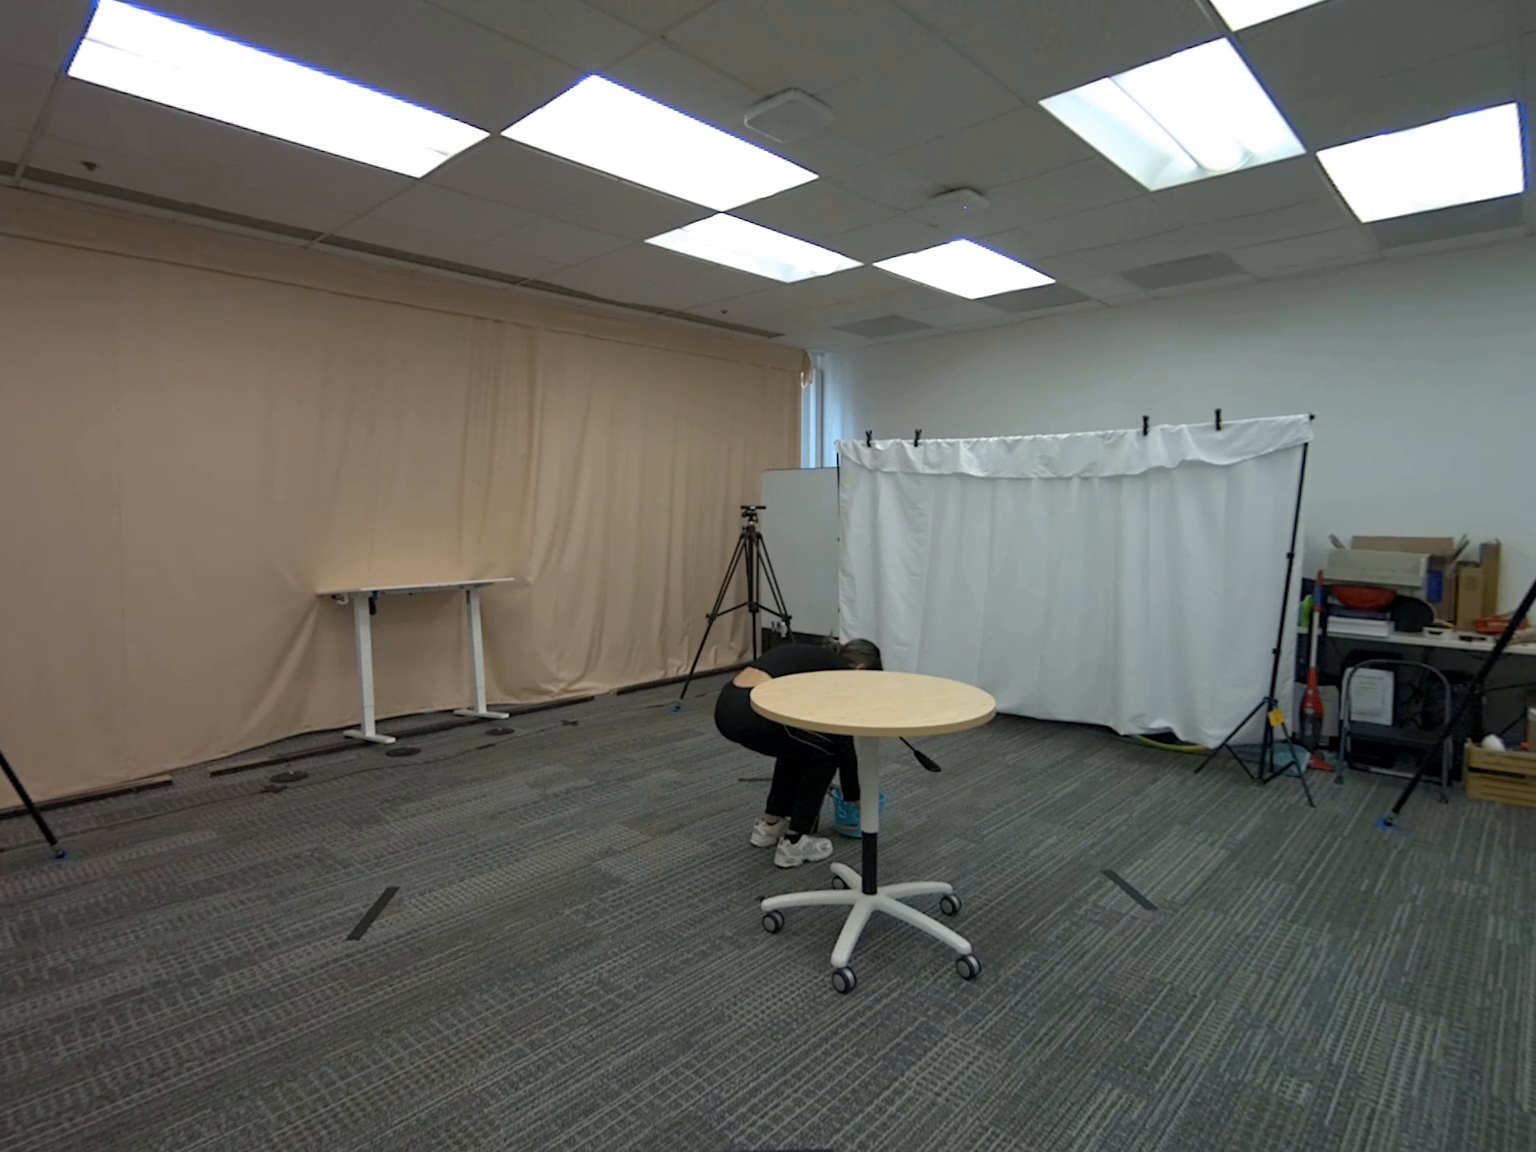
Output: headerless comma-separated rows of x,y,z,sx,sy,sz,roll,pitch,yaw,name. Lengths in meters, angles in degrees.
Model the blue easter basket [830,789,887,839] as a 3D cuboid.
0.372,1.003,3.596,0.243,0.156,0.244,1,1,-2,blue easter basket
